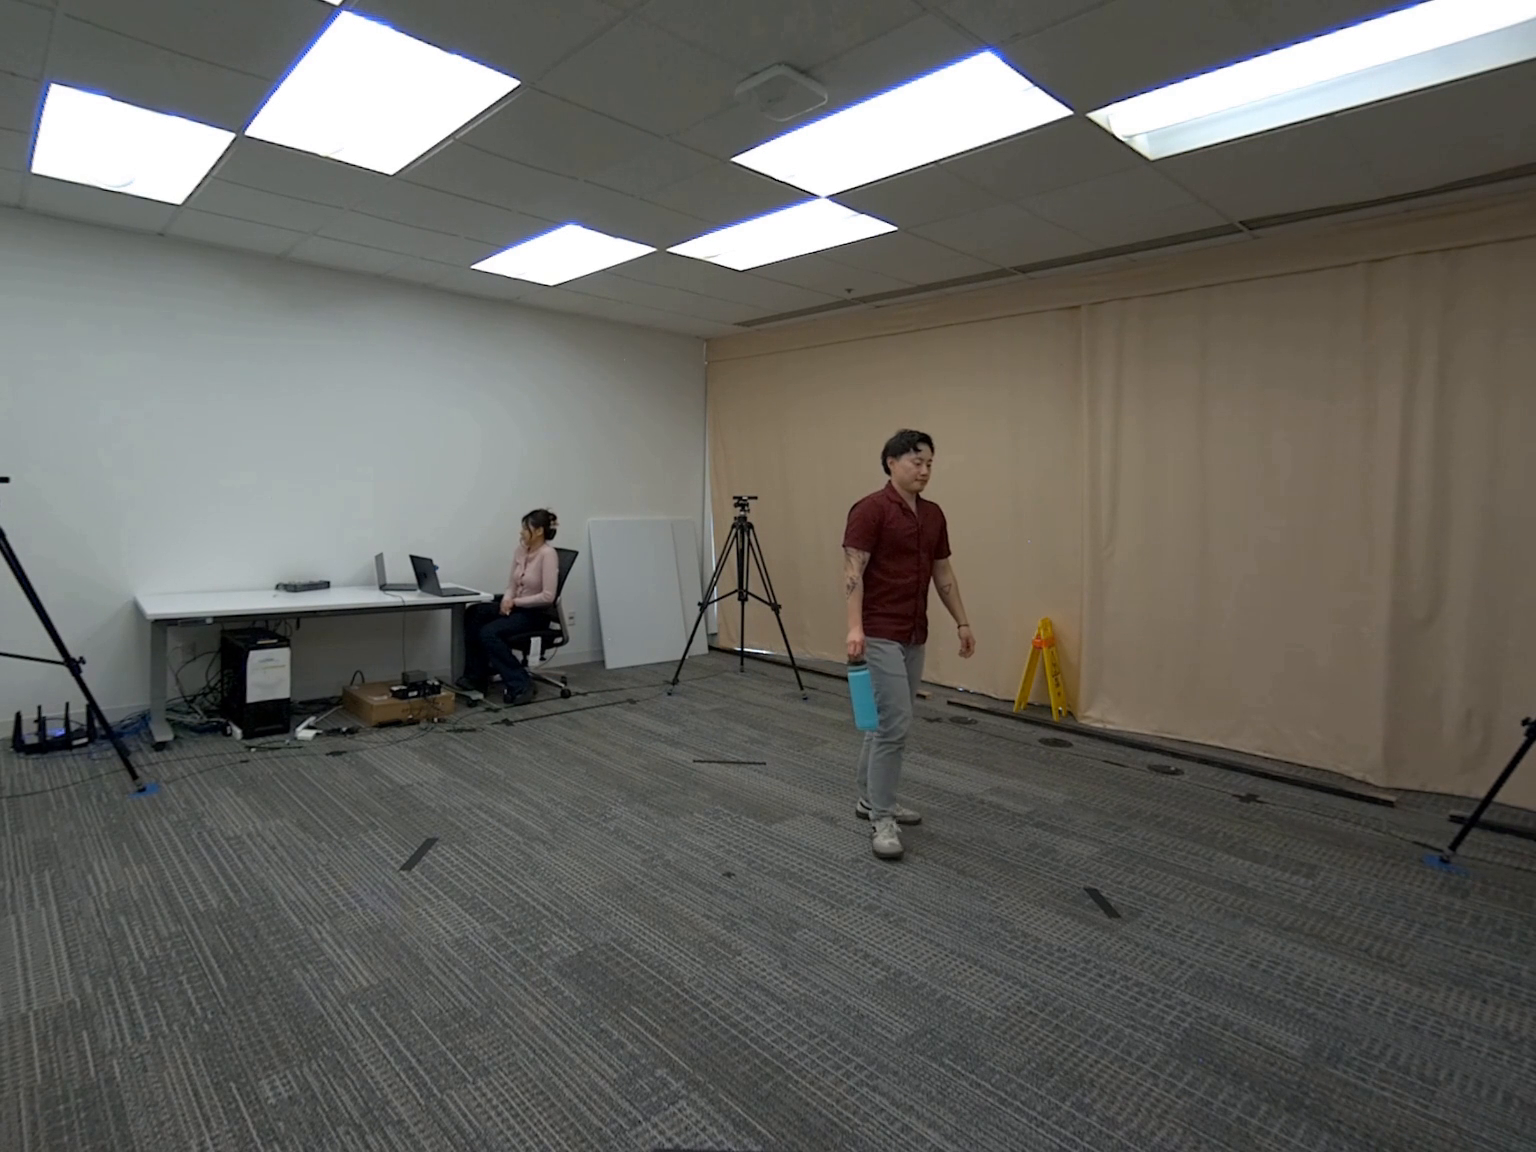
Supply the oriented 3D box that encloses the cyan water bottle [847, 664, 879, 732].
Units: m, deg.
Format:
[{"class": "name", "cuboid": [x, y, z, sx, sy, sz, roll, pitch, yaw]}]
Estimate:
[{"class": "cyan water bottle", "cuboid": [0.359, 0.461, 3.313, 0.092, 0.284, 0.092, -10, -2, -2]}]
